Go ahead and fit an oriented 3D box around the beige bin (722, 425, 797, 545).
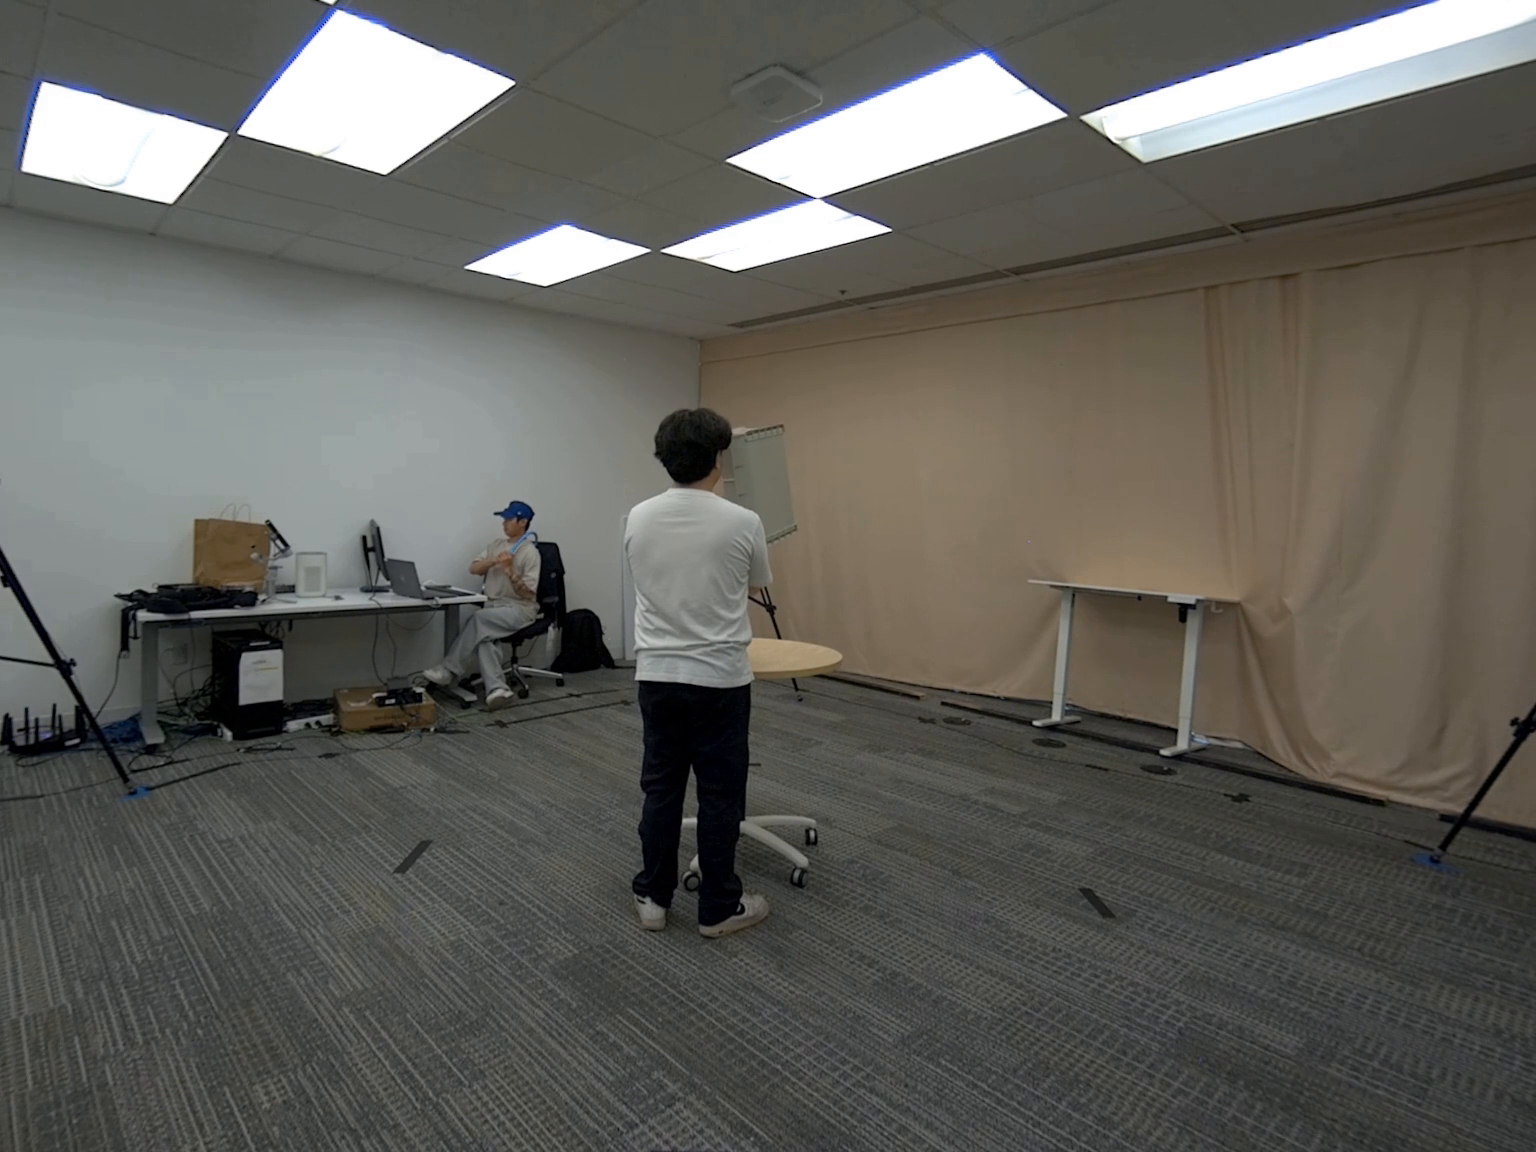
[{"bbox_3d":[-0.080,-0.320,3.030,0.193,0.419,0.373,-2,11,30],"label":"beige bin"}]
